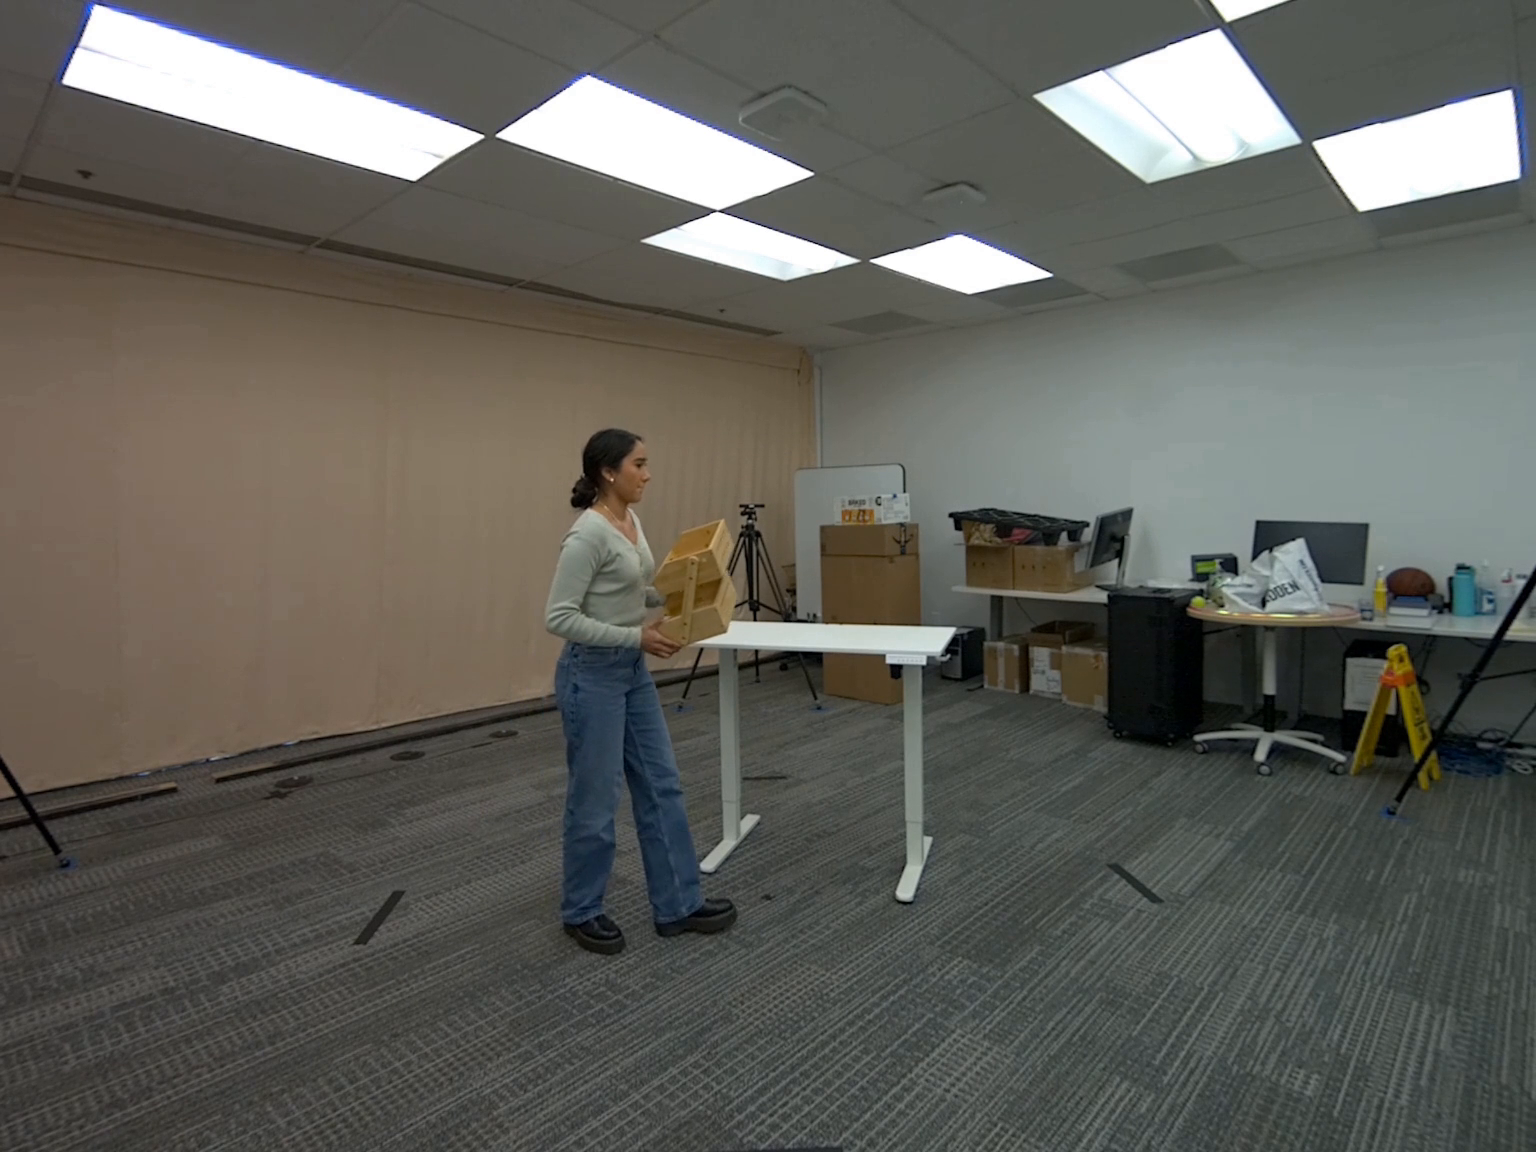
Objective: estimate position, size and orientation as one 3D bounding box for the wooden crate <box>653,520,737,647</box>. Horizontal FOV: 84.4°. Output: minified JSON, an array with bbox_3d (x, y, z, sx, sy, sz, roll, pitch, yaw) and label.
[{"bbox_3d":[-0.248,0.025,2.605,0.305,0.269,0.326,-18,16,12],"label":"wooden crate"}]
